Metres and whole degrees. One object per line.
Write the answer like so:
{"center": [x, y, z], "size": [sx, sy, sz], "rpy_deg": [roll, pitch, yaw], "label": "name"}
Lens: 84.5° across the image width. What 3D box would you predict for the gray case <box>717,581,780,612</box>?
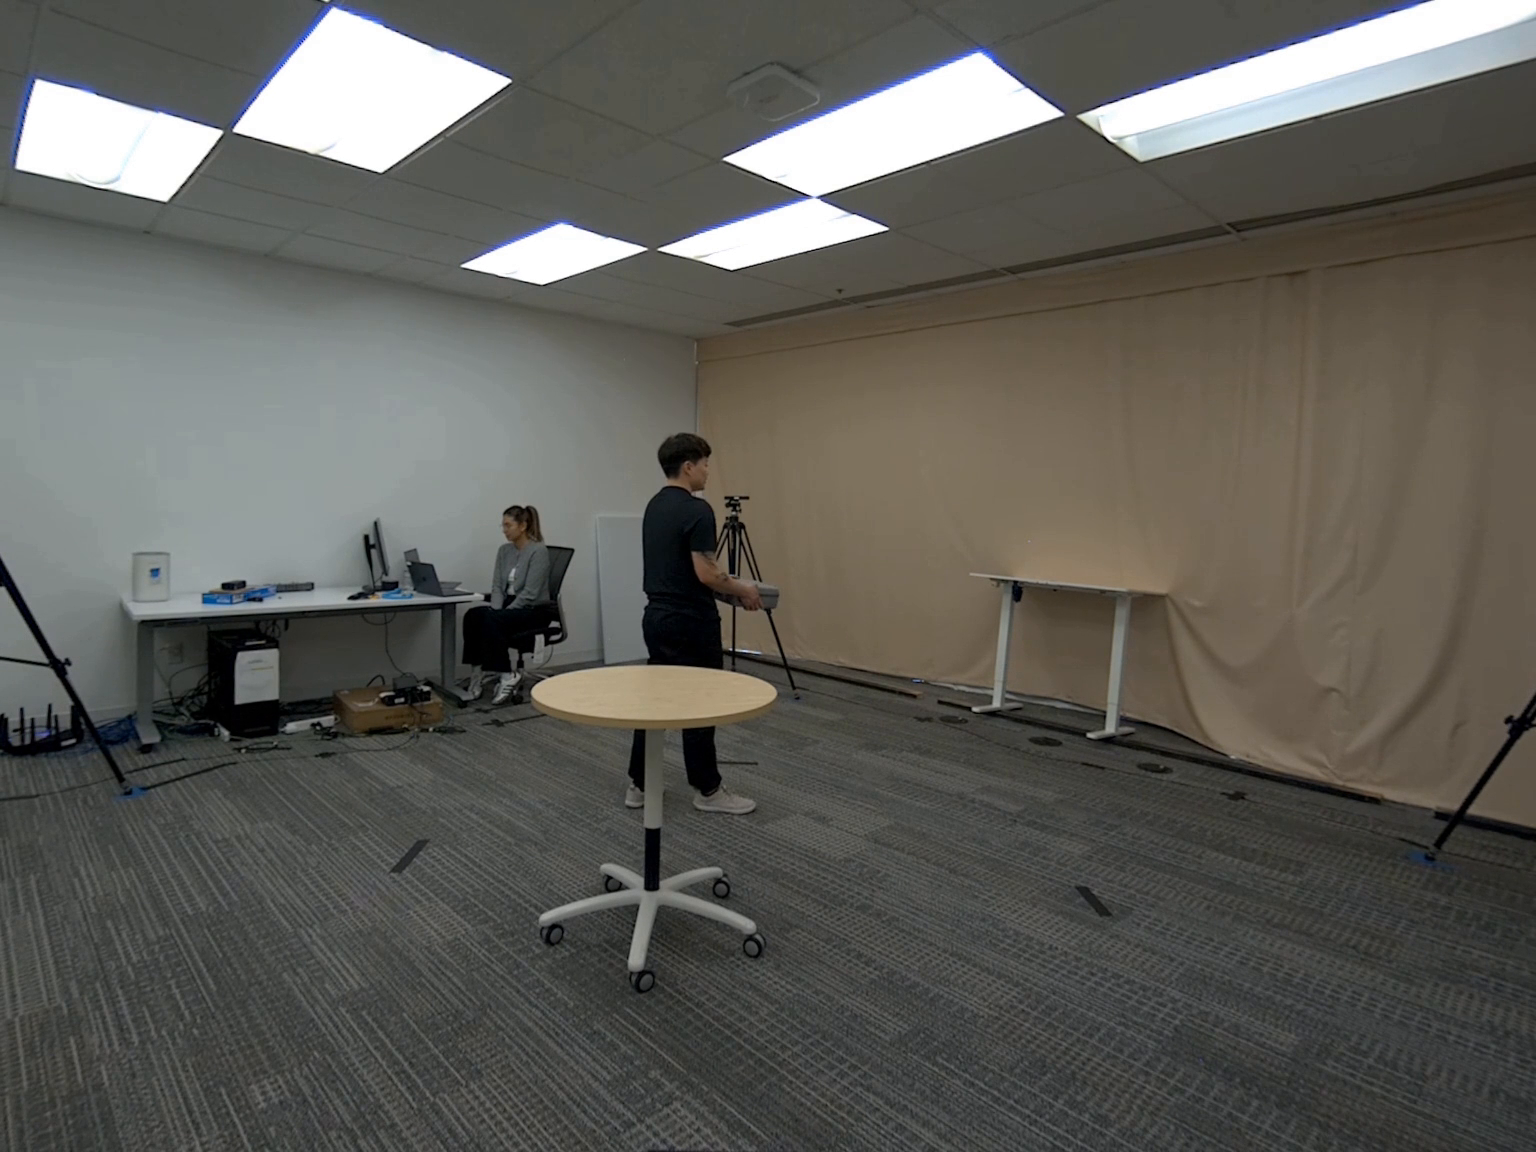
{"center": [-0.115, 0.078, 3.927], "size": [0.255, 0.104, 0.263], "rpy_deg": [3, 8, -29], "label": "gray case"}
